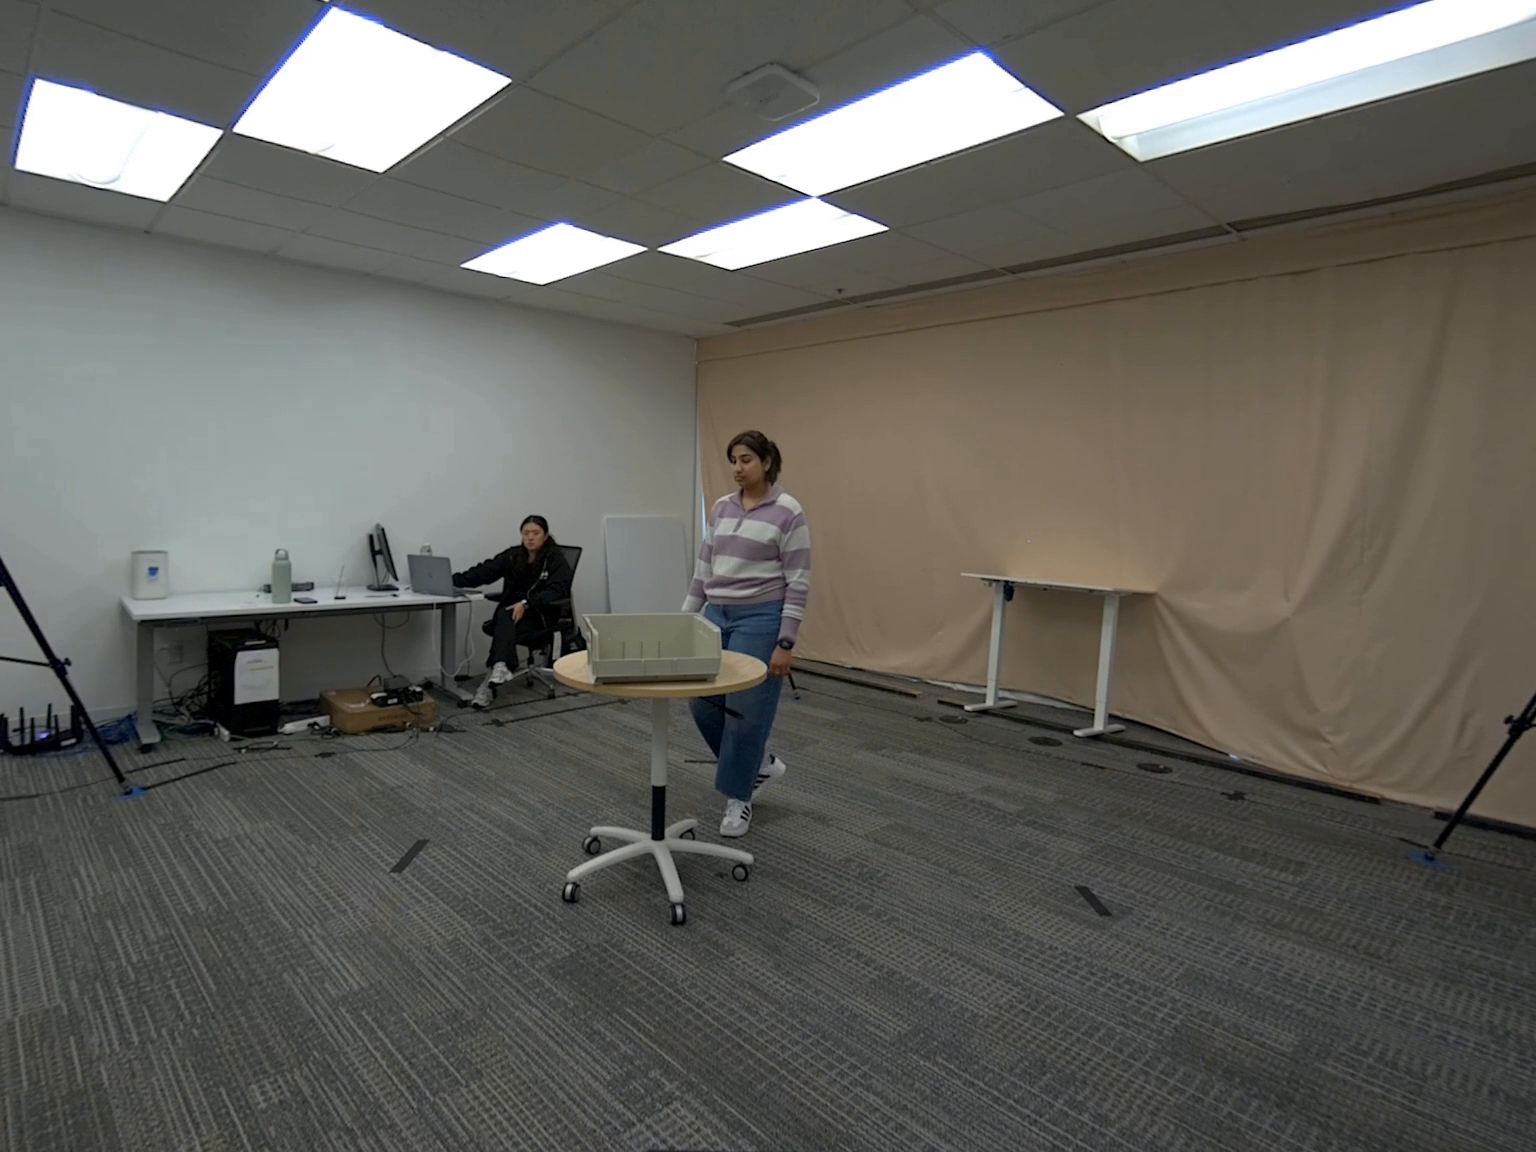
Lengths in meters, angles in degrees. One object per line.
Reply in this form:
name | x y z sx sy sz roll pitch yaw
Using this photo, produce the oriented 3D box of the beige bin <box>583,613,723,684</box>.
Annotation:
beige bin | -0.418 0.256 2.866 0.418 0.188 0.383 0 6 -14
